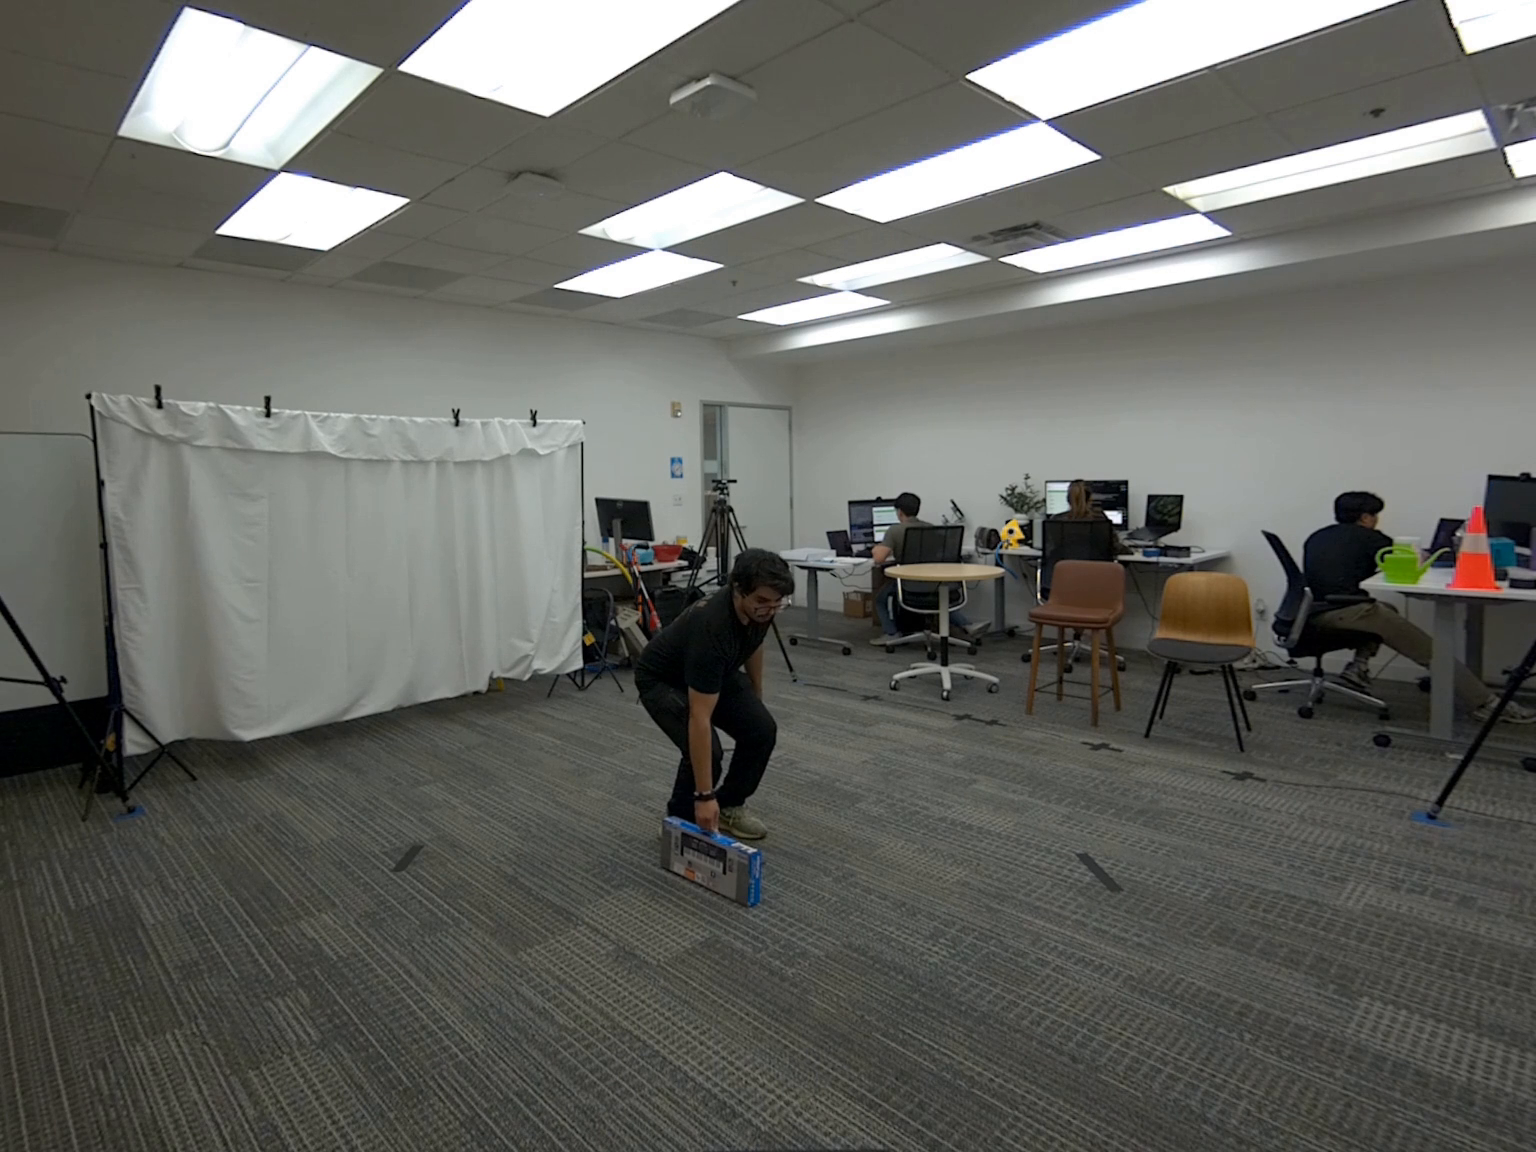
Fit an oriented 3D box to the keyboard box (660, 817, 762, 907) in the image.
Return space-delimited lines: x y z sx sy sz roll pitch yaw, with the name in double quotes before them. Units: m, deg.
"keyboard box" -0.205 0.985 2.955 0.450 0.176 0.057 5 2 43
